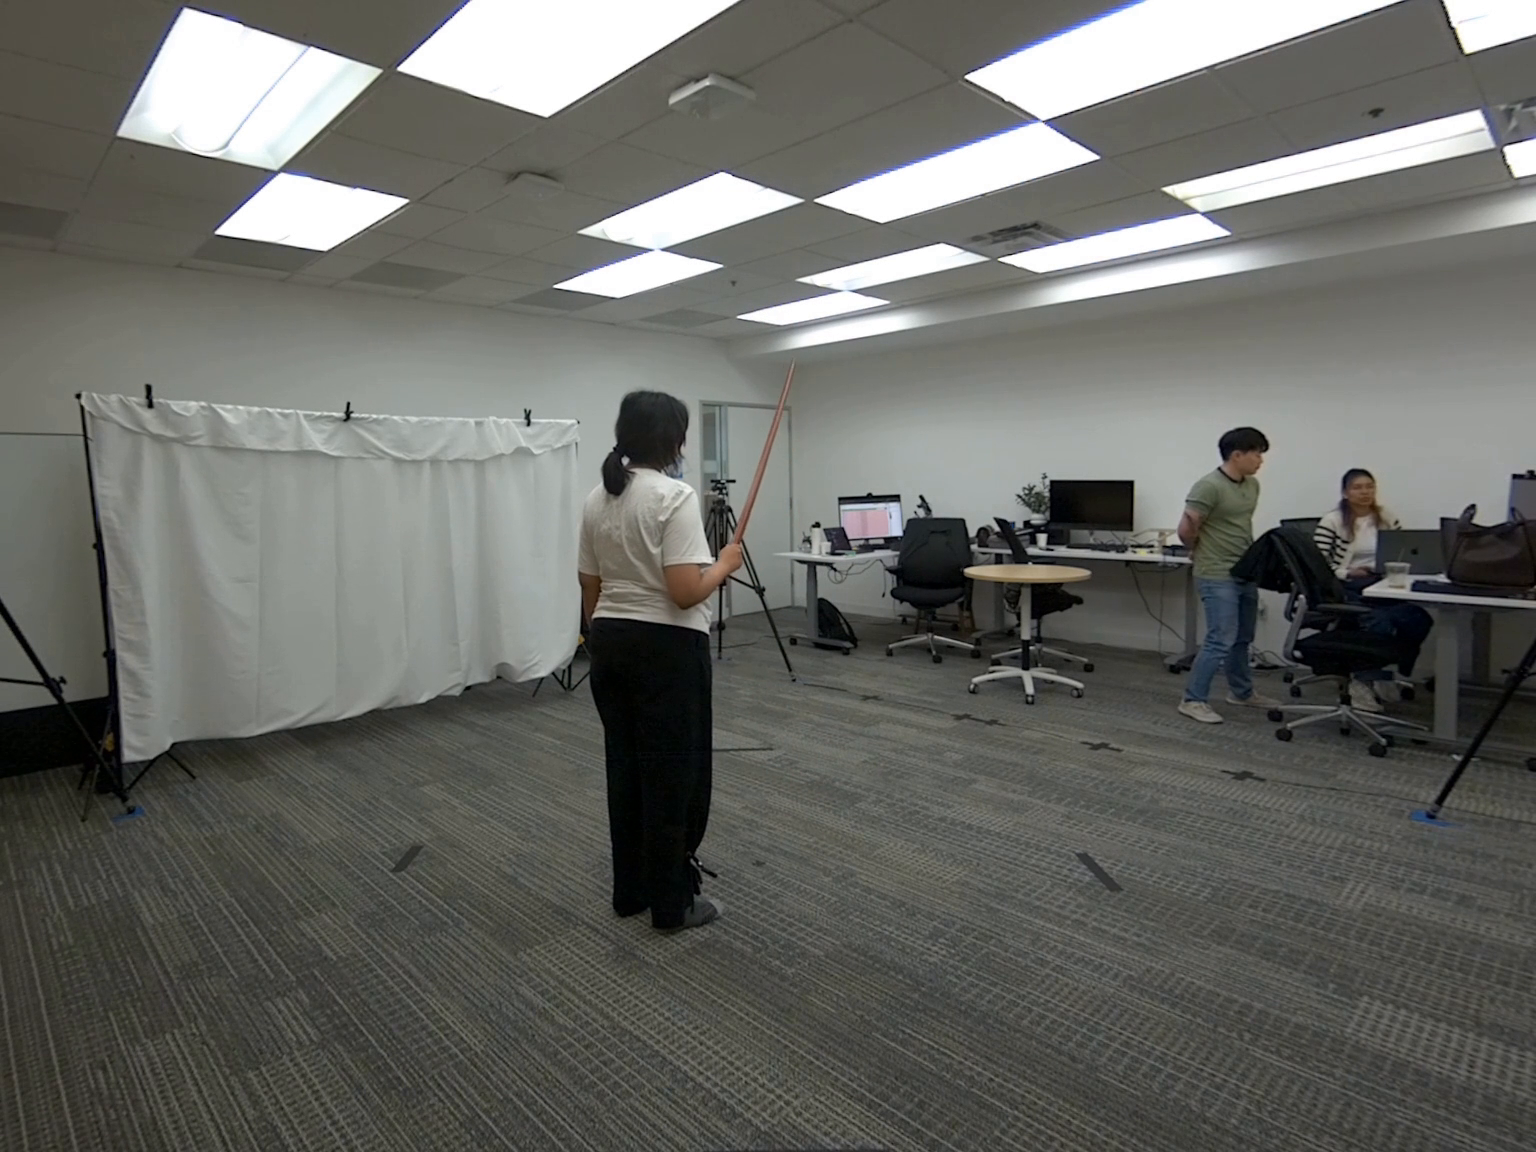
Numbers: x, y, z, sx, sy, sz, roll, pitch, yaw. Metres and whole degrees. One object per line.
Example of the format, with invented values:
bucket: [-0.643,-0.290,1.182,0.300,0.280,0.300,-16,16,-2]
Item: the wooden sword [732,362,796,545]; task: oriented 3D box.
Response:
wooden sword: [-0.002,-0.424,3.039,0.052,1.041,0.023,-13,-43,36]
